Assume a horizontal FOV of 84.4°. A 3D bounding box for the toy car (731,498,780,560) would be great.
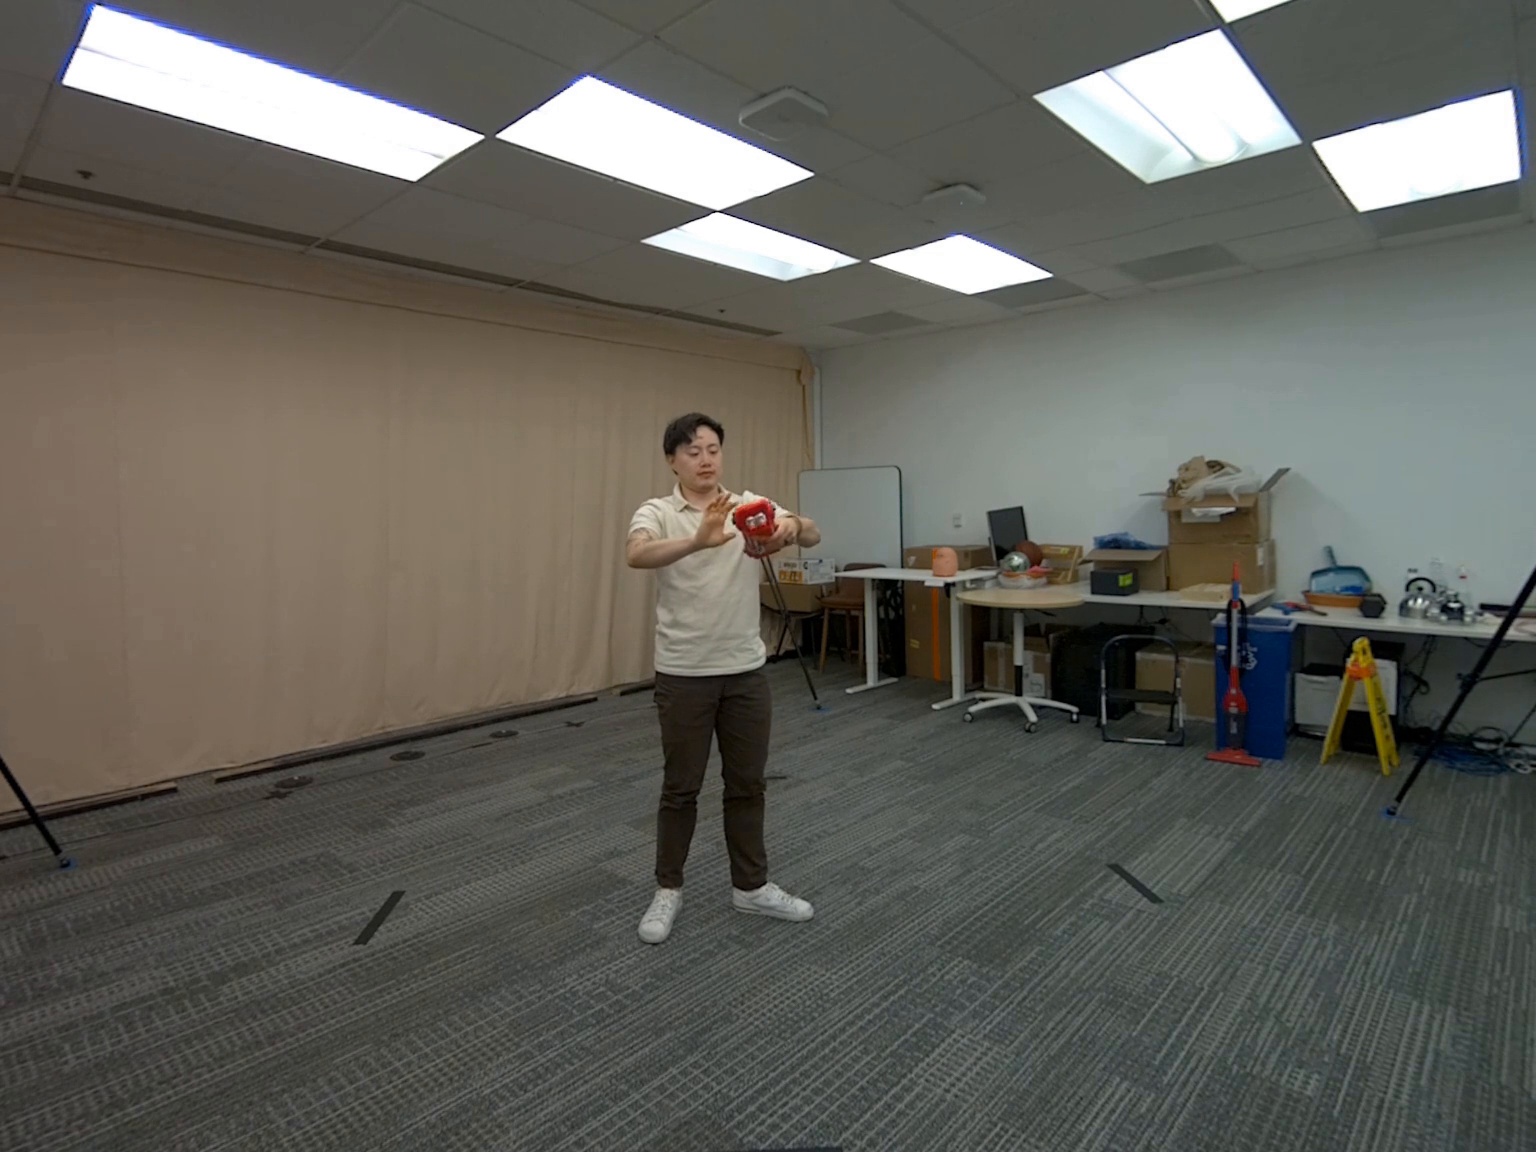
[{"bbox_3d":[-0.029,-0.138,2.370,0.130,0.085,0.248,-18,-26,1],"label":"toy car"}]
